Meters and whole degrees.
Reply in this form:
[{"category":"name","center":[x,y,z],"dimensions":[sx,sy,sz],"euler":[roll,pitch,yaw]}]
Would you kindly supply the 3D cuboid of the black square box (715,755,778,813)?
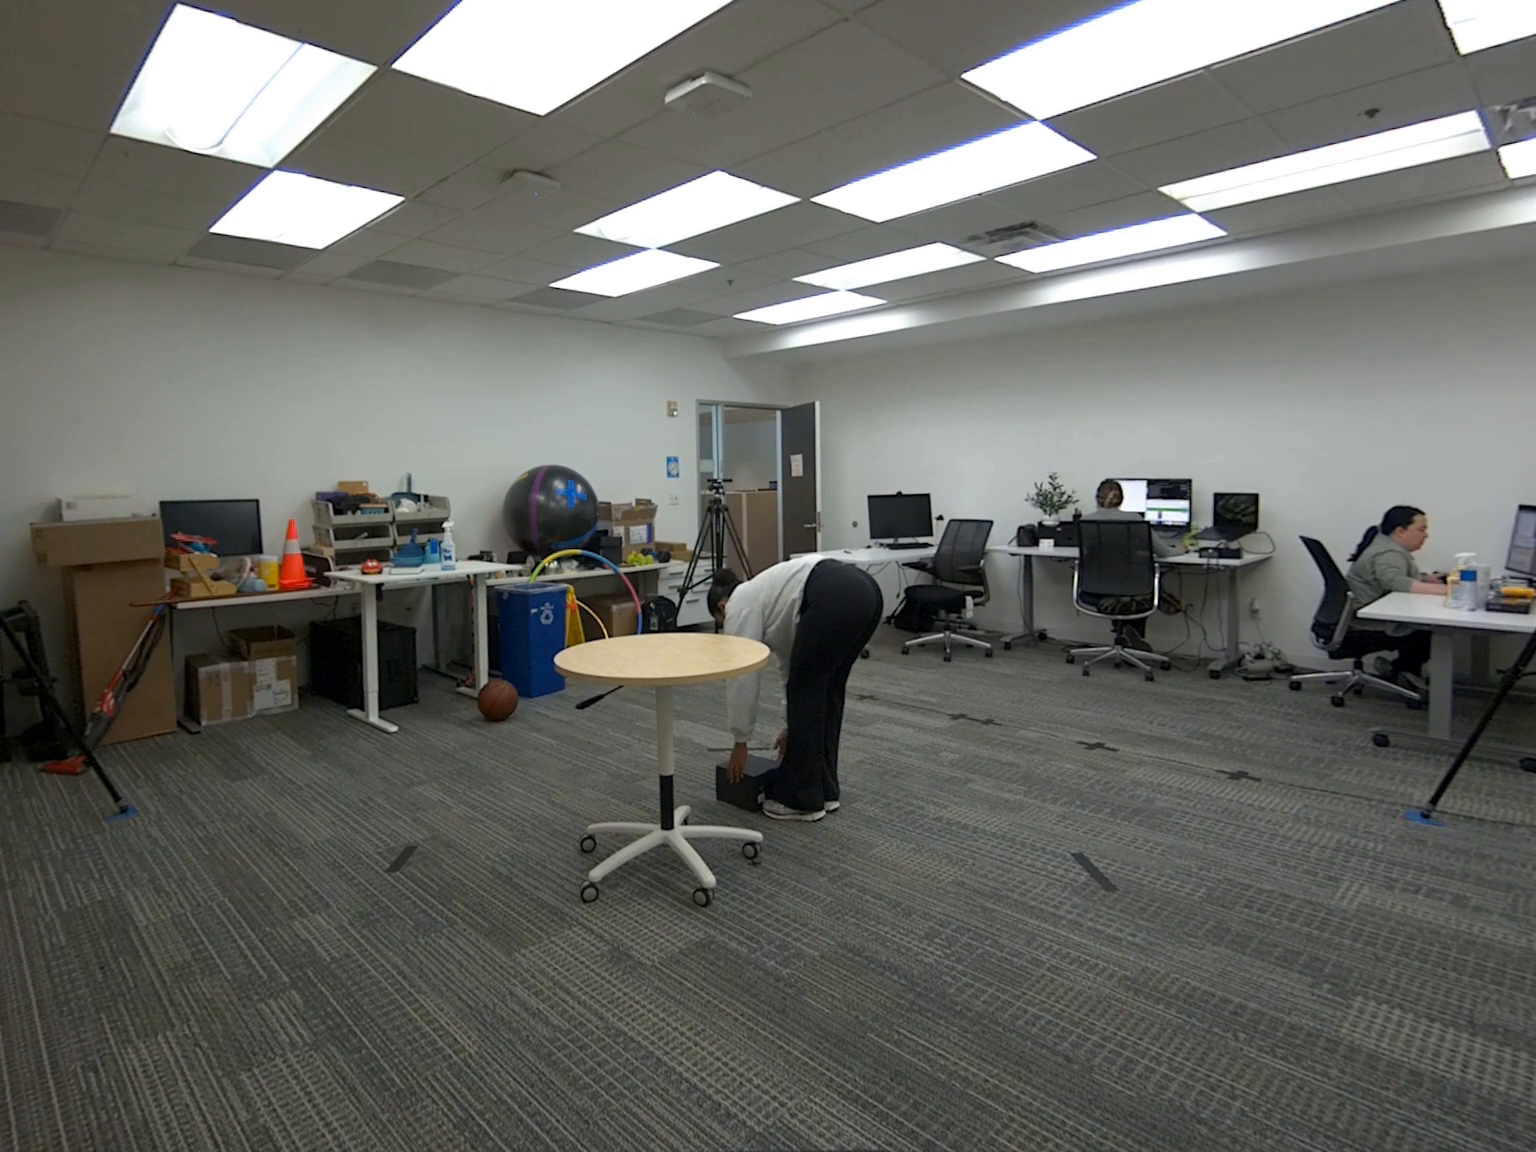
[{"category":"black square box","center":[-0.071,0.890,3.726],"dimensions":[0.235,0.155,0.211],"euler":[3,6,43]}]
